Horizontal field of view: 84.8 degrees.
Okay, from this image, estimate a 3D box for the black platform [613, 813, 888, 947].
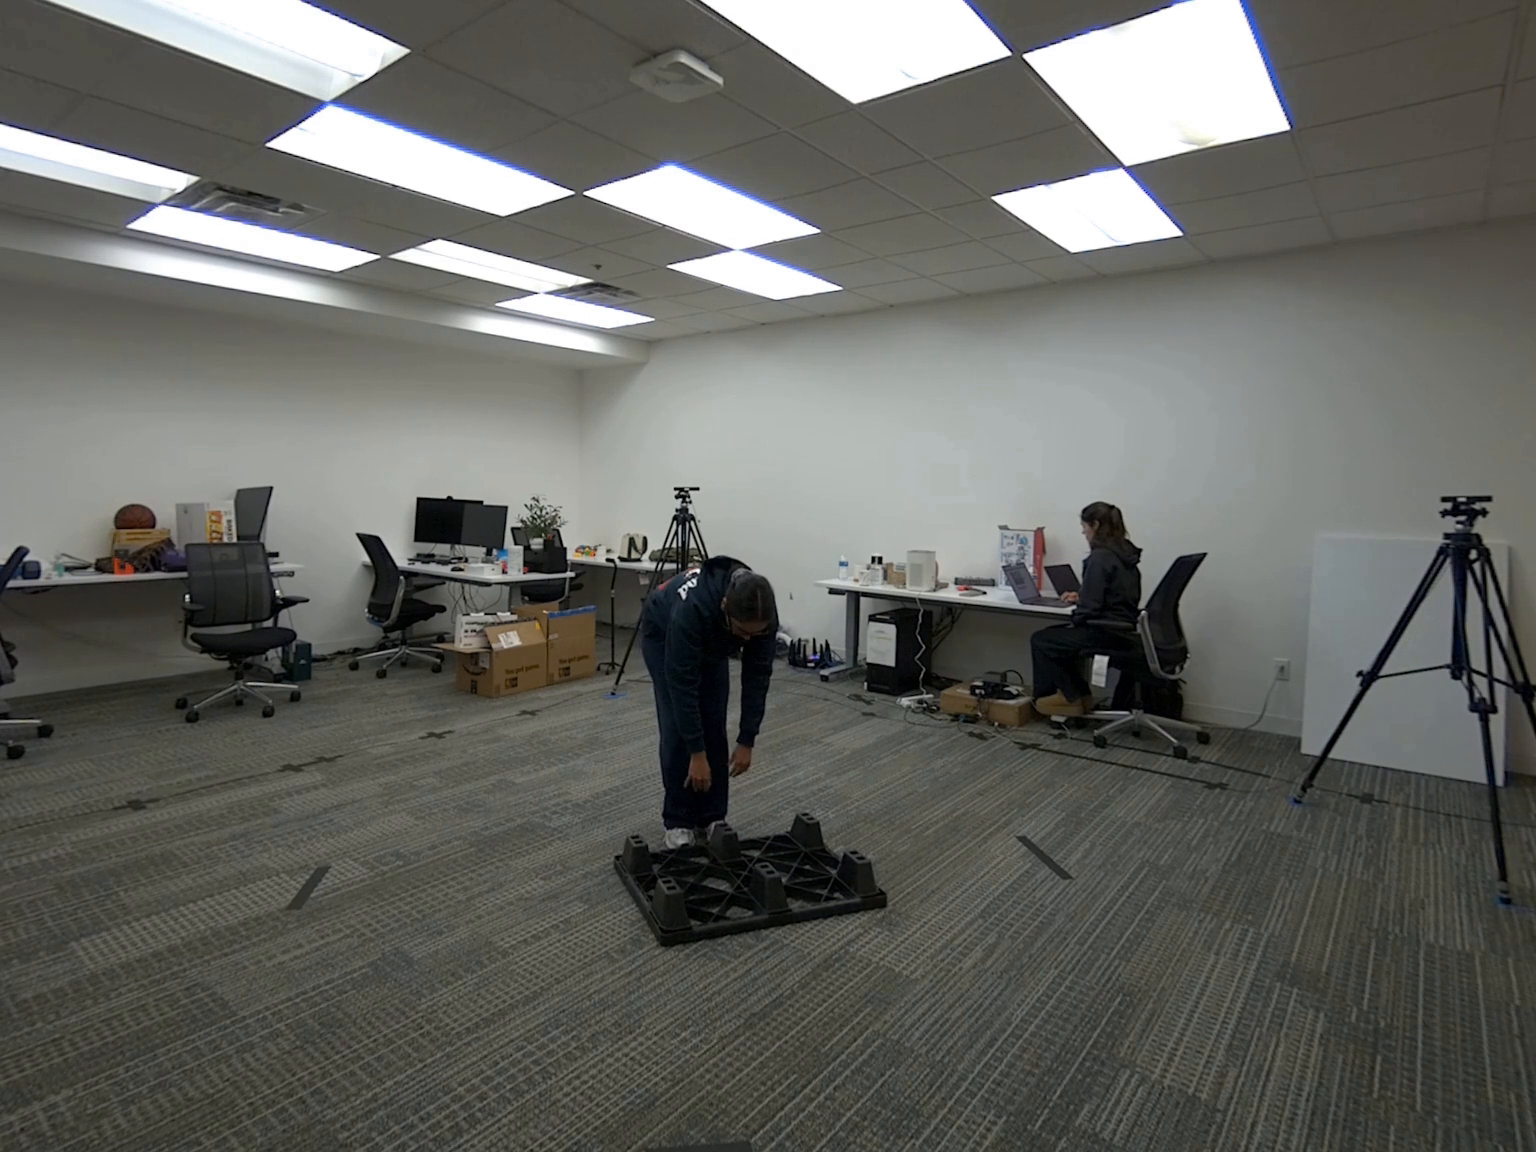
[{"bbox_3d":[-0.088,1.011,2.980,0.787,0.143,0.621,-1,6,-24],"label":"black platform"}]
